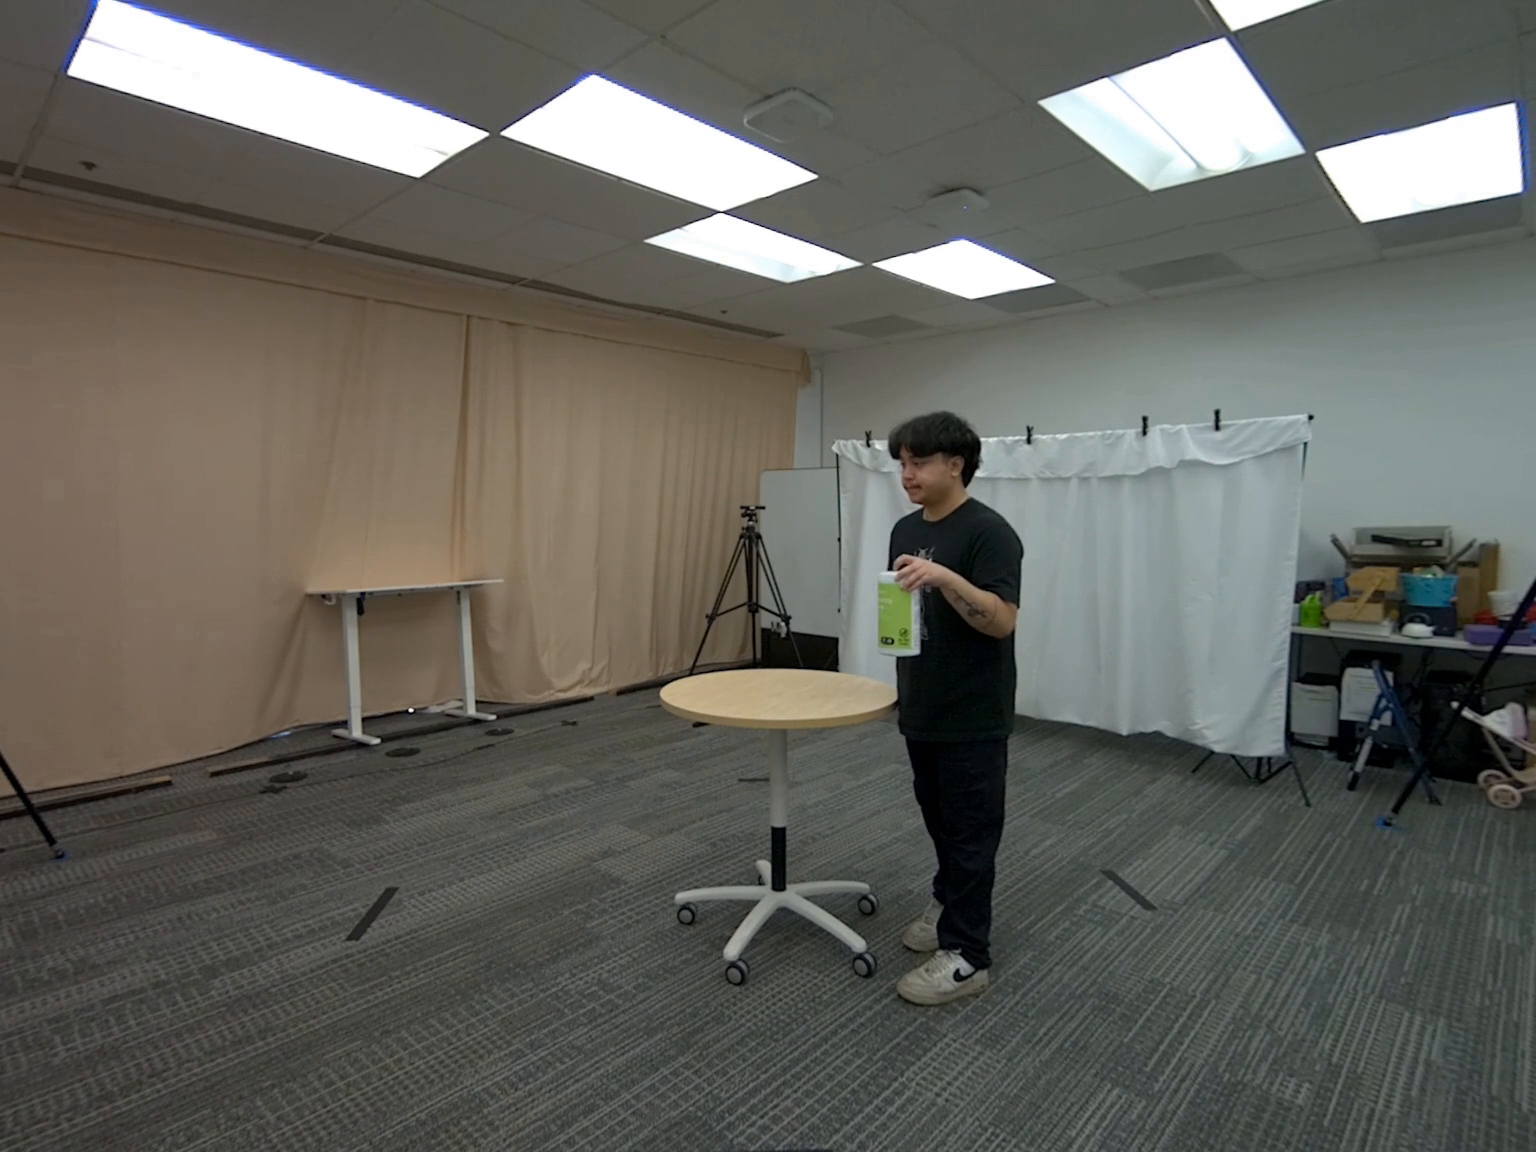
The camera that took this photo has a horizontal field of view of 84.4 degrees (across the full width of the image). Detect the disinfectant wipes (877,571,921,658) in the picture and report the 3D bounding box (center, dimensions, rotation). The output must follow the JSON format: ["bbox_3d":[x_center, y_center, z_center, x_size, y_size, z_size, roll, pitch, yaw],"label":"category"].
[{"bbox_3d":[0.356,0.098,2.210,0.118,0.217,0.118,-4,3,-2],"label":"disinfectant wipes"}]
